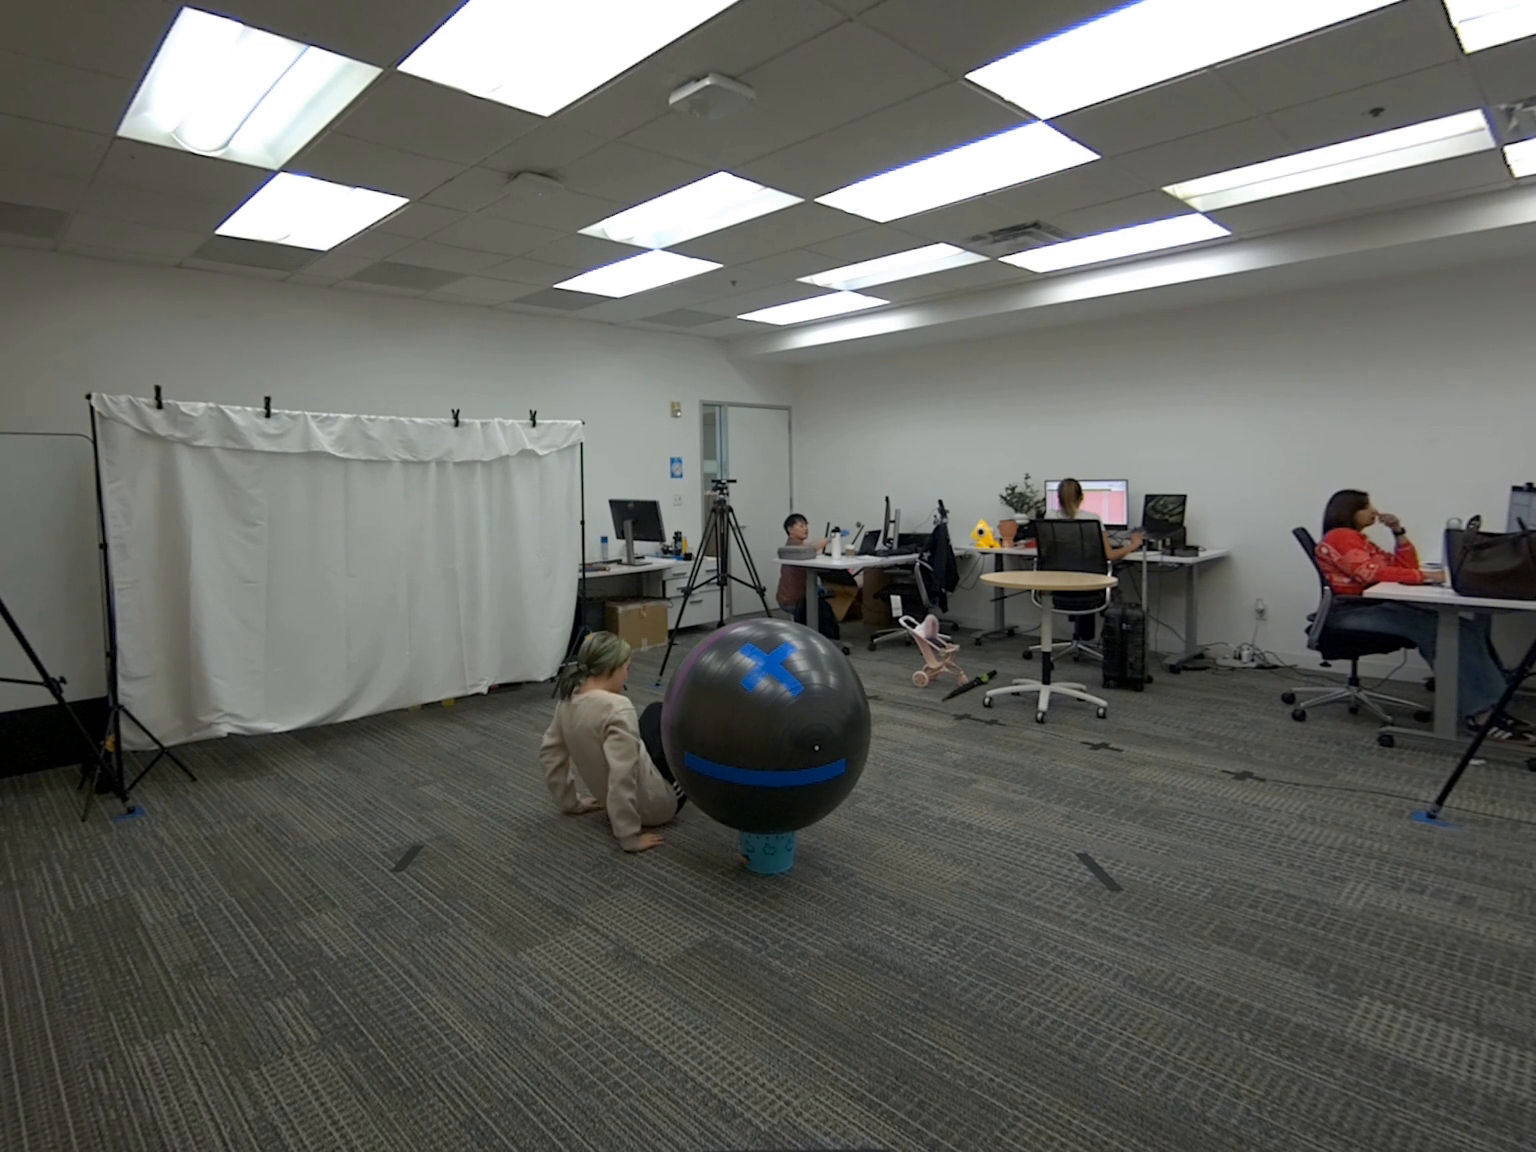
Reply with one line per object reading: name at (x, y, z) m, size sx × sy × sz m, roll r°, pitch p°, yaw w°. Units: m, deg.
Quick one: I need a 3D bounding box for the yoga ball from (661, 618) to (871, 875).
yoga ball at (-0.008, 0.534, 3.090) m, size 0.757 × 0.755 × 0.762 m, roll -1°, pitch 5°, yaw -2°
